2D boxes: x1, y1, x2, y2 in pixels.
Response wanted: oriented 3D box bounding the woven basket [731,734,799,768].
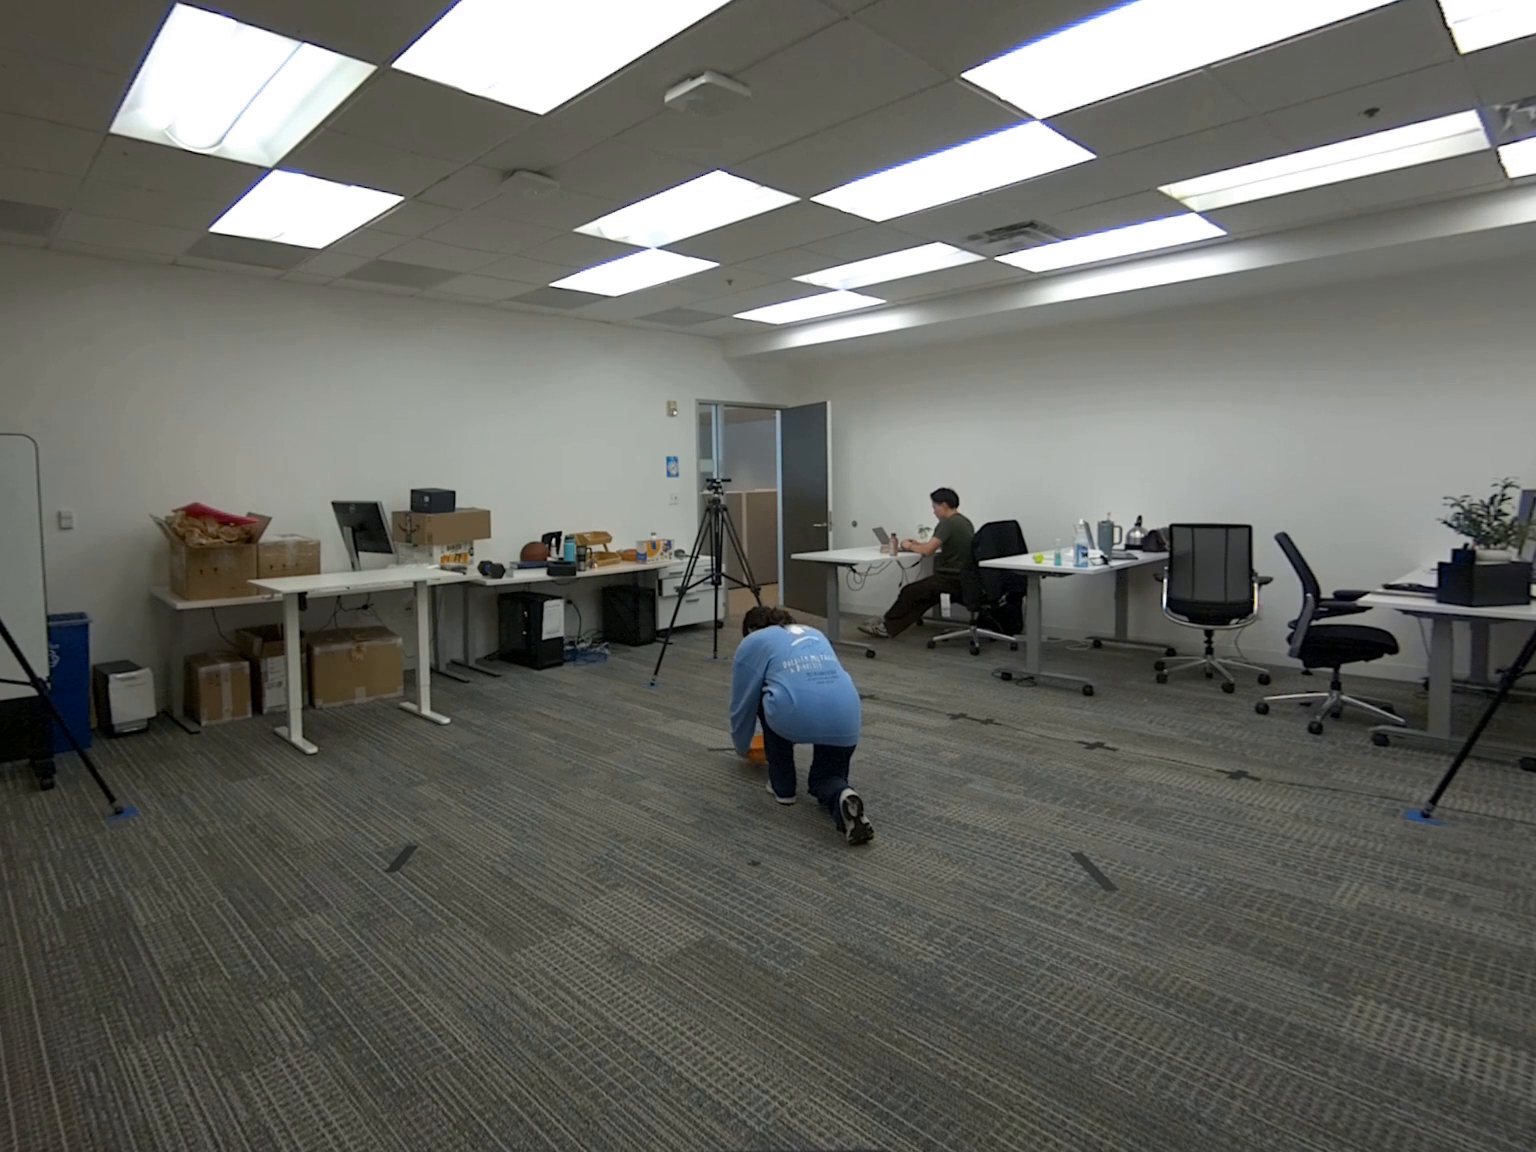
[{"bbox_3d":[-0.022,0.828,4.140,0.250,0.073,0.352,-11,-1,-10],"label":"woven basket"}]
